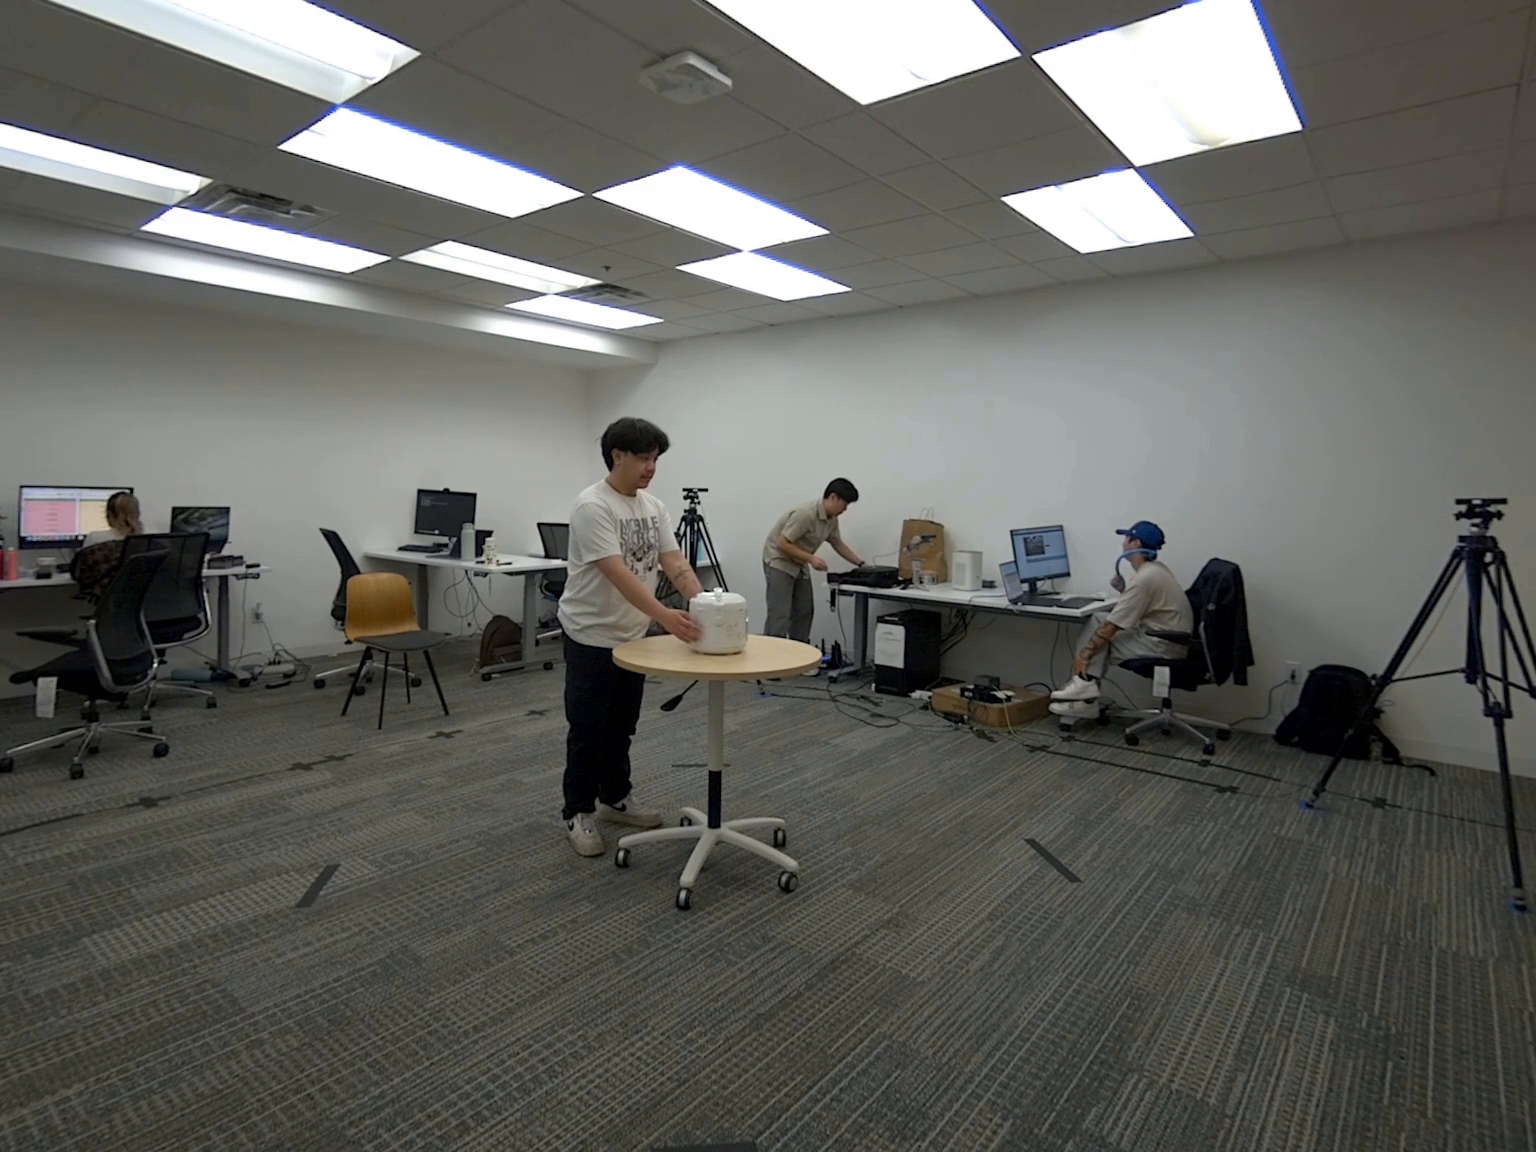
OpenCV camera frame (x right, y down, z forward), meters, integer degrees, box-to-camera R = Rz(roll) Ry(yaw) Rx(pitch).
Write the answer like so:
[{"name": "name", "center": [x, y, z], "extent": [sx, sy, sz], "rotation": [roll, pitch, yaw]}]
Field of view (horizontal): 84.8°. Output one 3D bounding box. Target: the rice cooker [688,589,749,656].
[{"name": "rice cooker", "center": [-0.188, 0.156, 3.113], "extent": [0.217, 0.232, 0.222], "rotation": [1, 5, -4]}]
